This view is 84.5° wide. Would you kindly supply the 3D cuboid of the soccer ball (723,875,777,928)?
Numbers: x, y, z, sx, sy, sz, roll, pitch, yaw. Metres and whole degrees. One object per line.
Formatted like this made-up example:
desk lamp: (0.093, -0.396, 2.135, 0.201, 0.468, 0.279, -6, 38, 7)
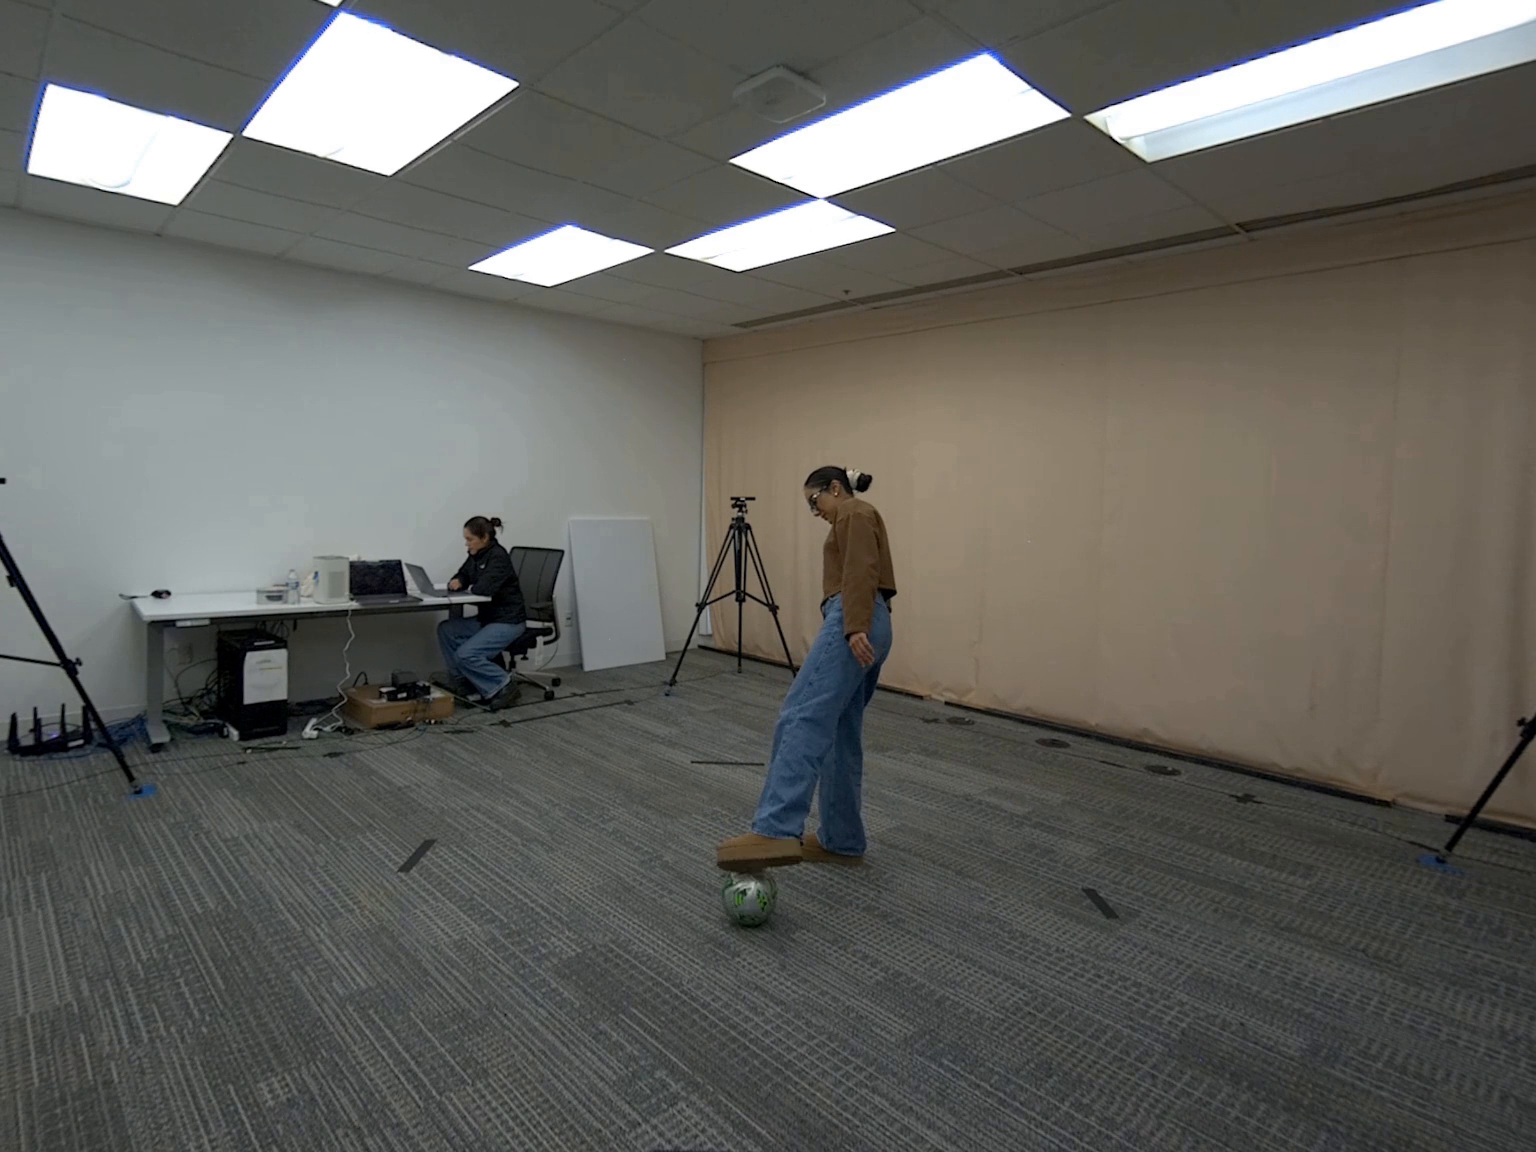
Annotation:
soccer ball: (-0.066, 1.047, 2.767, 0.187, 0.187, 0.188, 1, 4, -1)
